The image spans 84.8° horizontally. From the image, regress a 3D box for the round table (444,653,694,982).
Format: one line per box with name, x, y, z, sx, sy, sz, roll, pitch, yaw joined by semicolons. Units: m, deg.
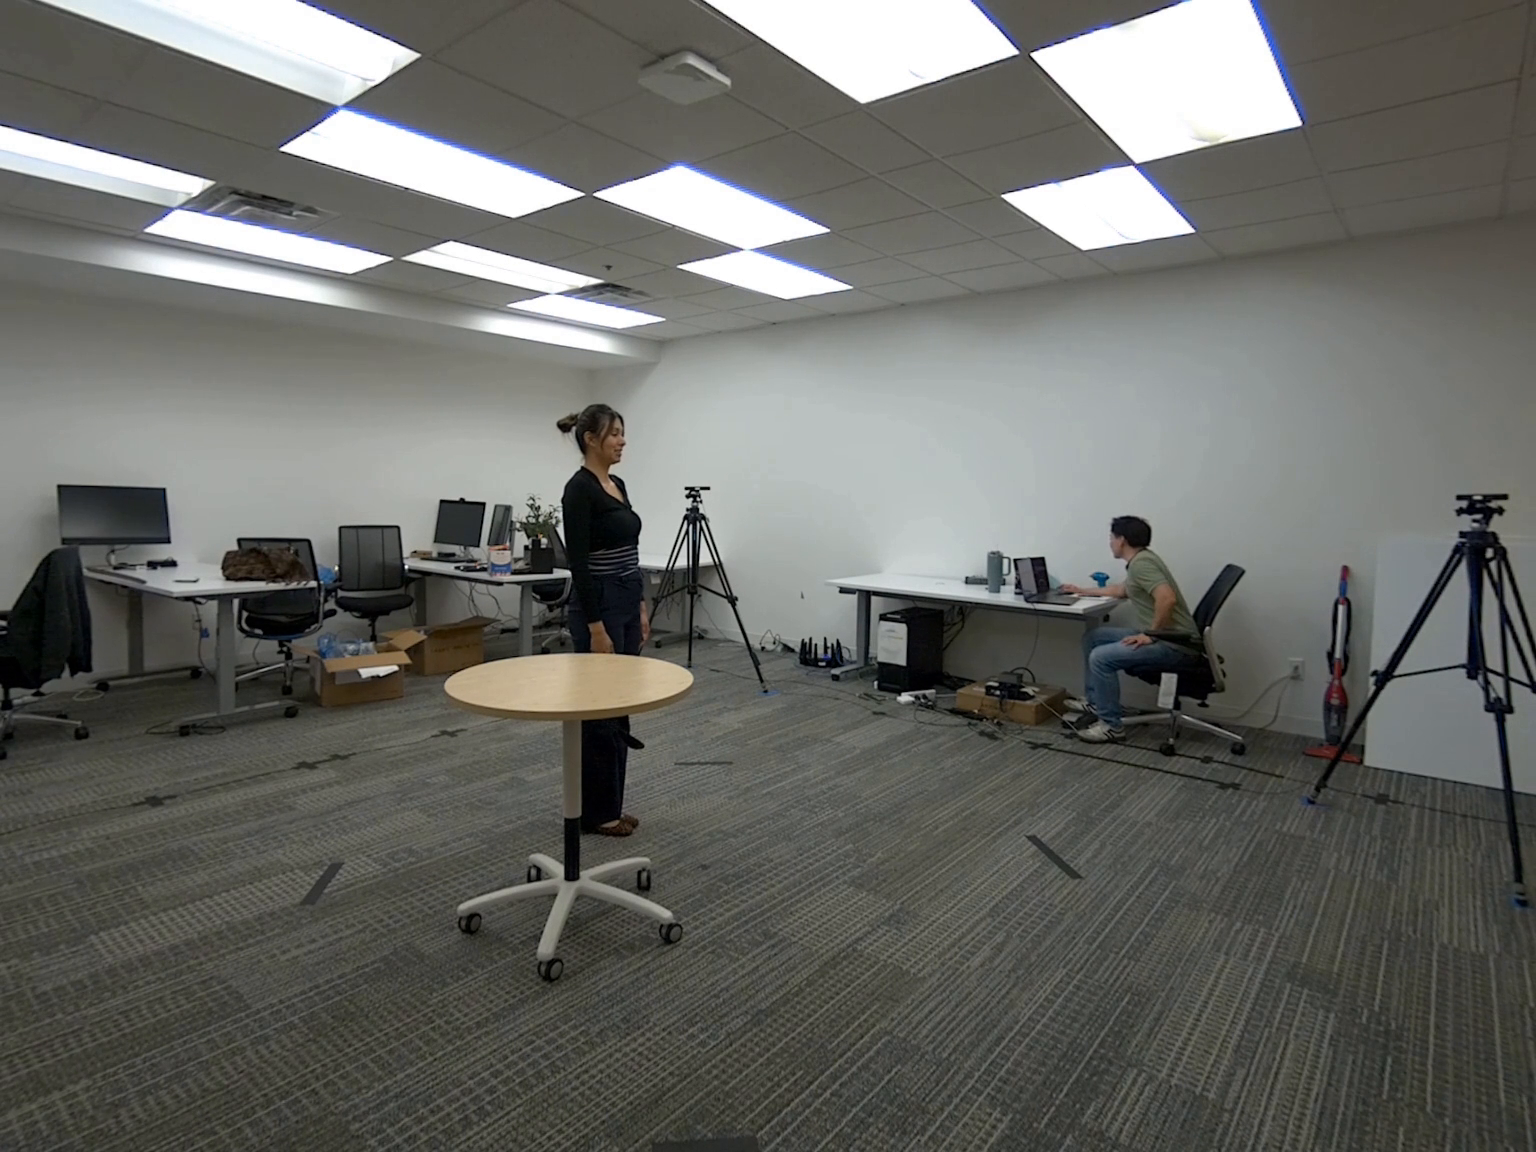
round table;-0.624;0.714;2.686;0.763;0.791;0.768;0;5;-2
